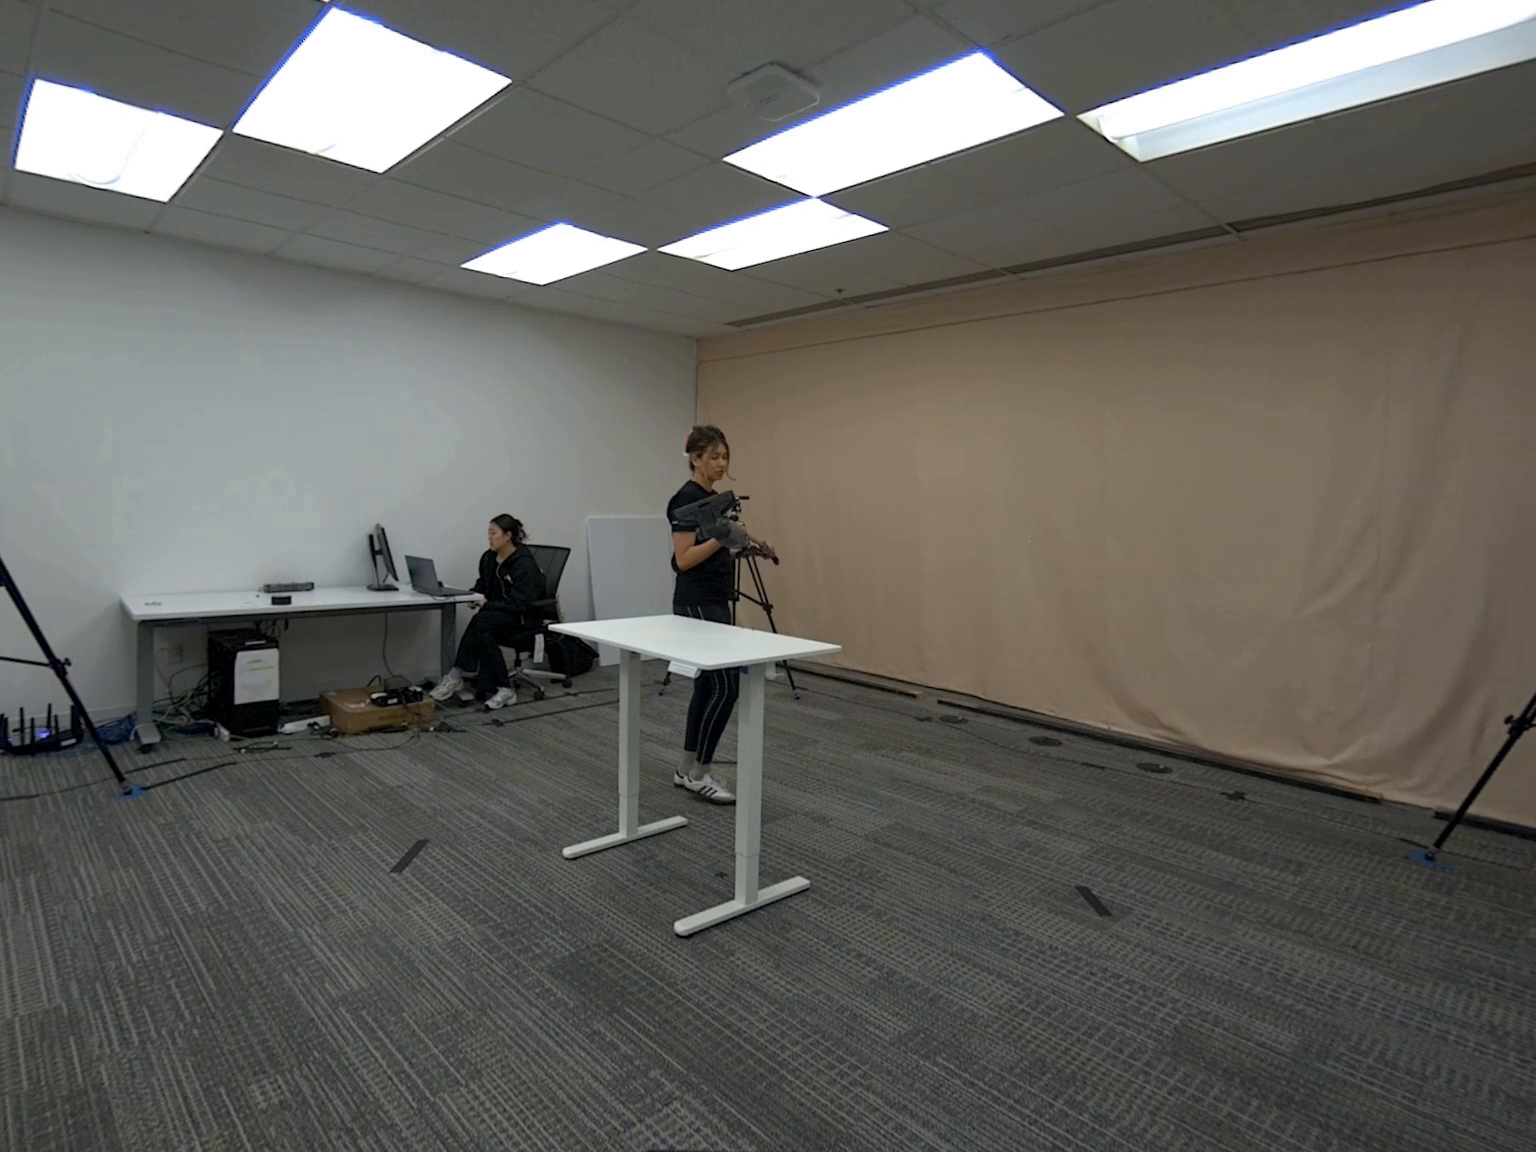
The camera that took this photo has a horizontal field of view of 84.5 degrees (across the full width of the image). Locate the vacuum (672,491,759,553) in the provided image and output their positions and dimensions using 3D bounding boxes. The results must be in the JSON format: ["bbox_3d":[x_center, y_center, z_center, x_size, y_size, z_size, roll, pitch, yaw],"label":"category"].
[{"bbox_3d":[-0.092,-0.140,3.721,0.254,0.146,1.027,-20,-14,13],"label":"vacuum"}]
